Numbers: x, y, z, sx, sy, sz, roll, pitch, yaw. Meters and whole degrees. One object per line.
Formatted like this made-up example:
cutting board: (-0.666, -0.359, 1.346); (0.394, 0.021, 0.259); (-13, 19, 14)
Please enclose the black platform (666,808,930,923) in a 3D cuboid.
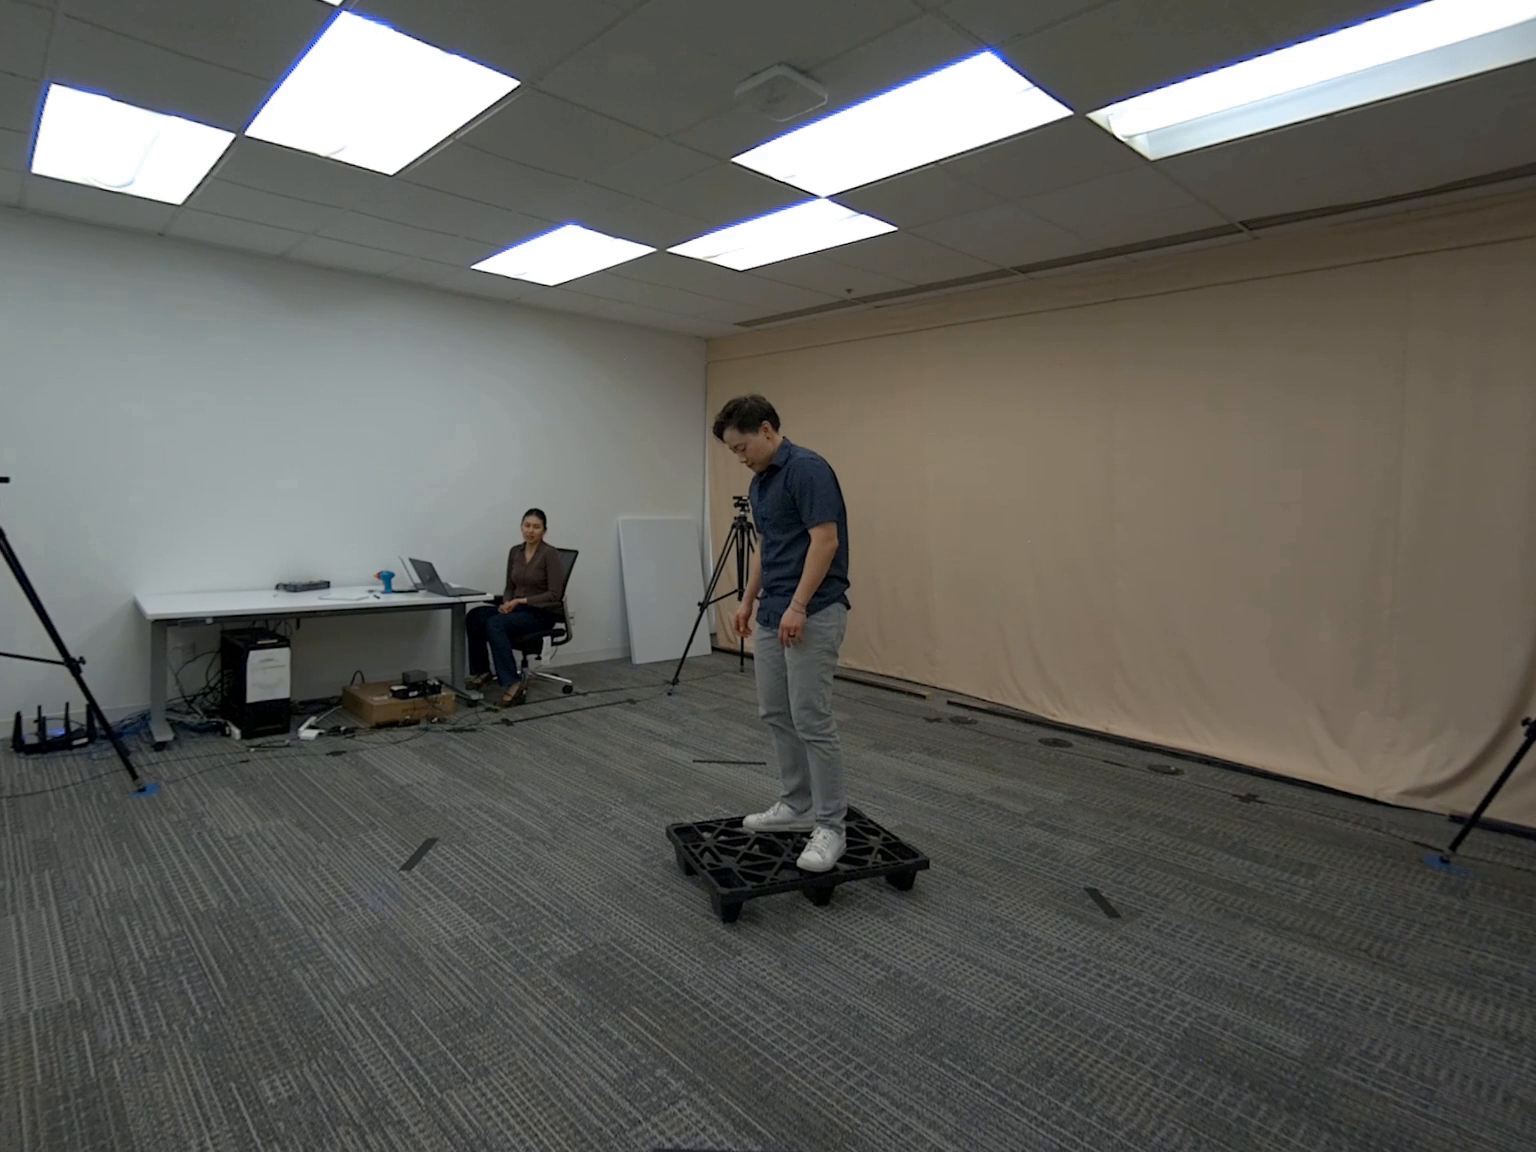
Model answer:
black platform: (0.090, 1.042, 3.091); (0.792, 0.143, 0.617); (-1, 6, -23)
